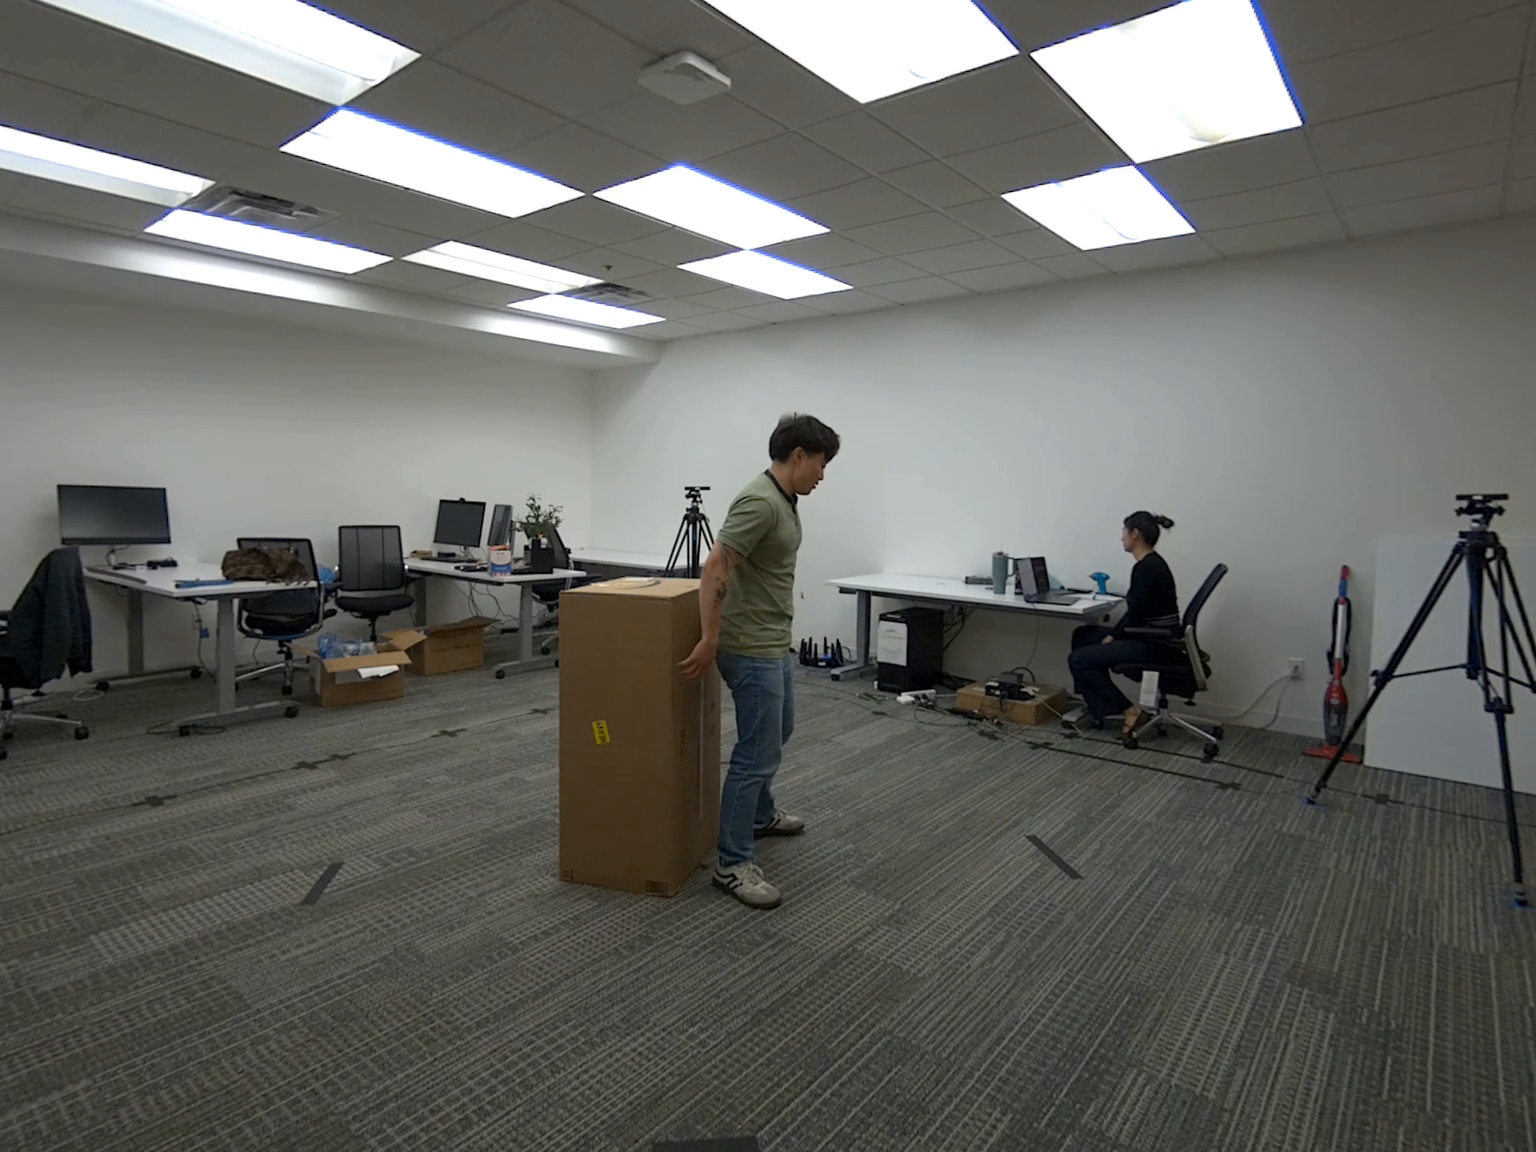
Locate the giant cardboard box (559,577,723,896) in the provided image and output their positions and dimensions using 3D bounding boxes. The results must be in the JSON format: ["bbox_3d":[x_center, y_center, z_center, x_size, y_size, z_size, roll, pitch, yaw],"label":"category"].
[{"bbox_3d":[-0.475,0.541,3.177,0.434,1.023,0.568,1,3,16],"label":"giant cardboard box"}]
